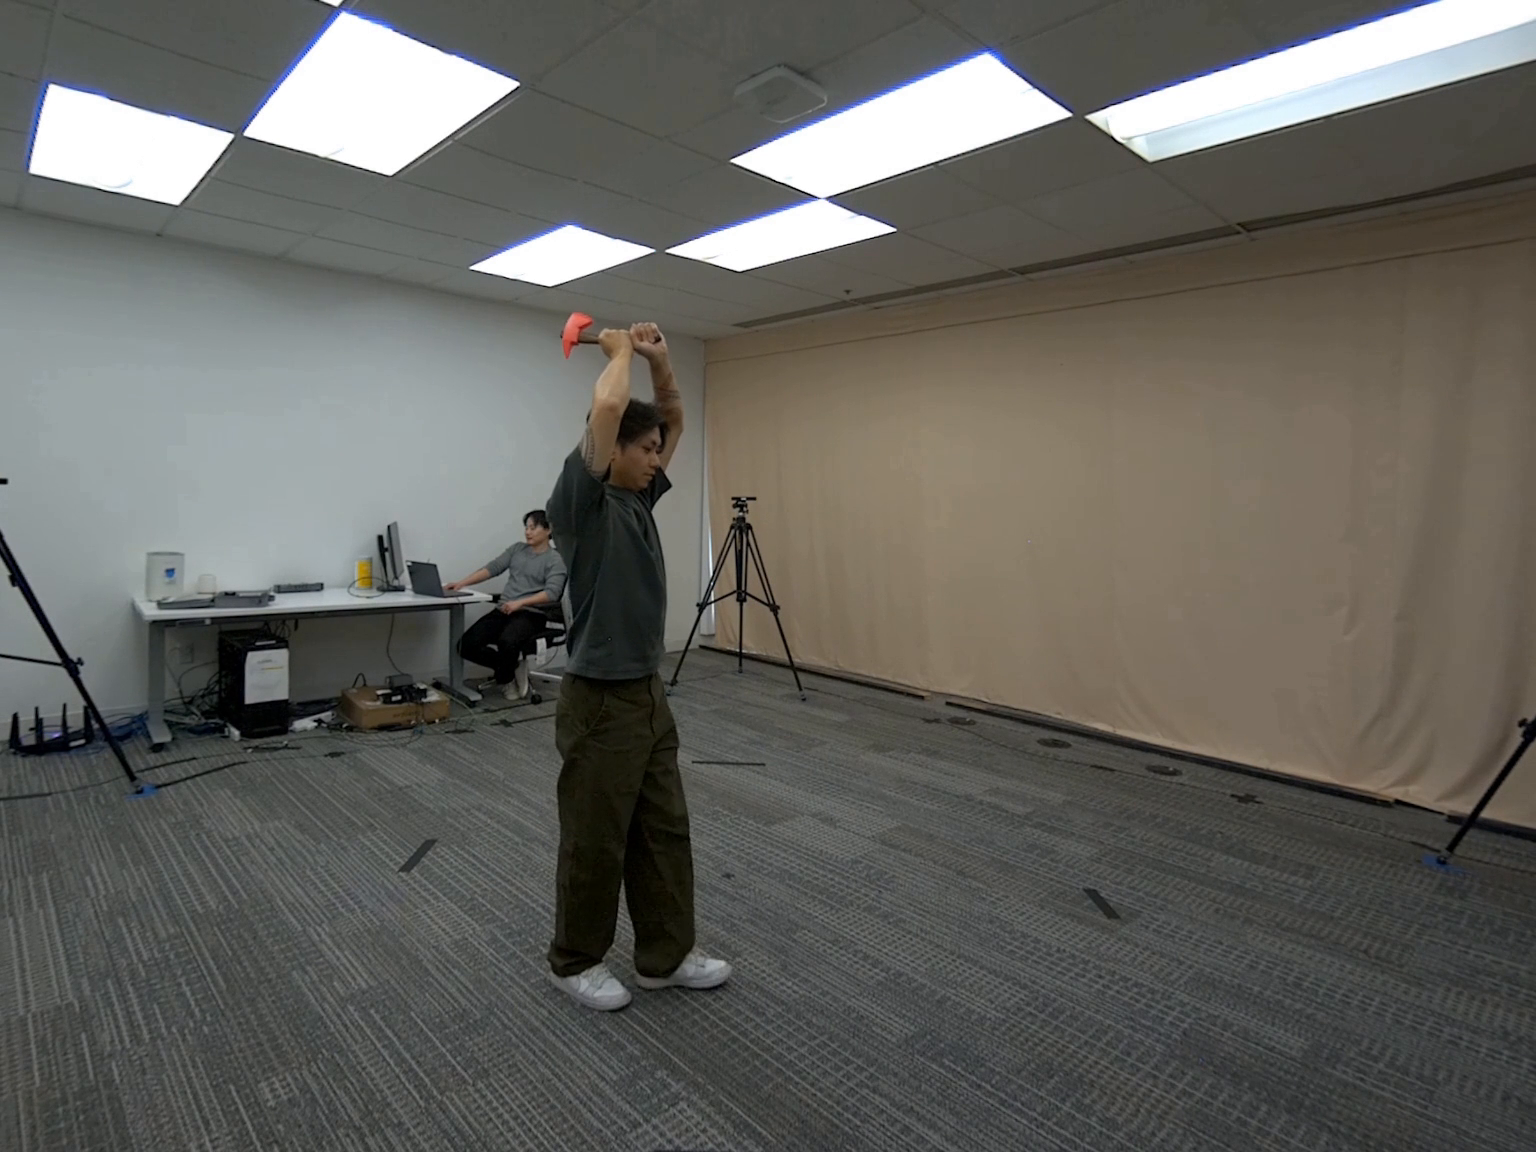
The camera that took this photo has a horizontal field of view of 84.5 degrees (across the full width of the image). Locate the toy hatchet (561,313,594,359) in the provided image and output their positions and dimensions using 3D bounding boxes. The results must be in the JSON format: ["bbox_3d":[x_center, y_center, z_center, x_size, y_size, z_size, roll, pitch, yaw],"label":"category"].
[{"bbox_3d":[-0.429,-0.667,2.294,0.271,0.132,0.029,-10,-12,4],"label":"toy hatchet"}]
